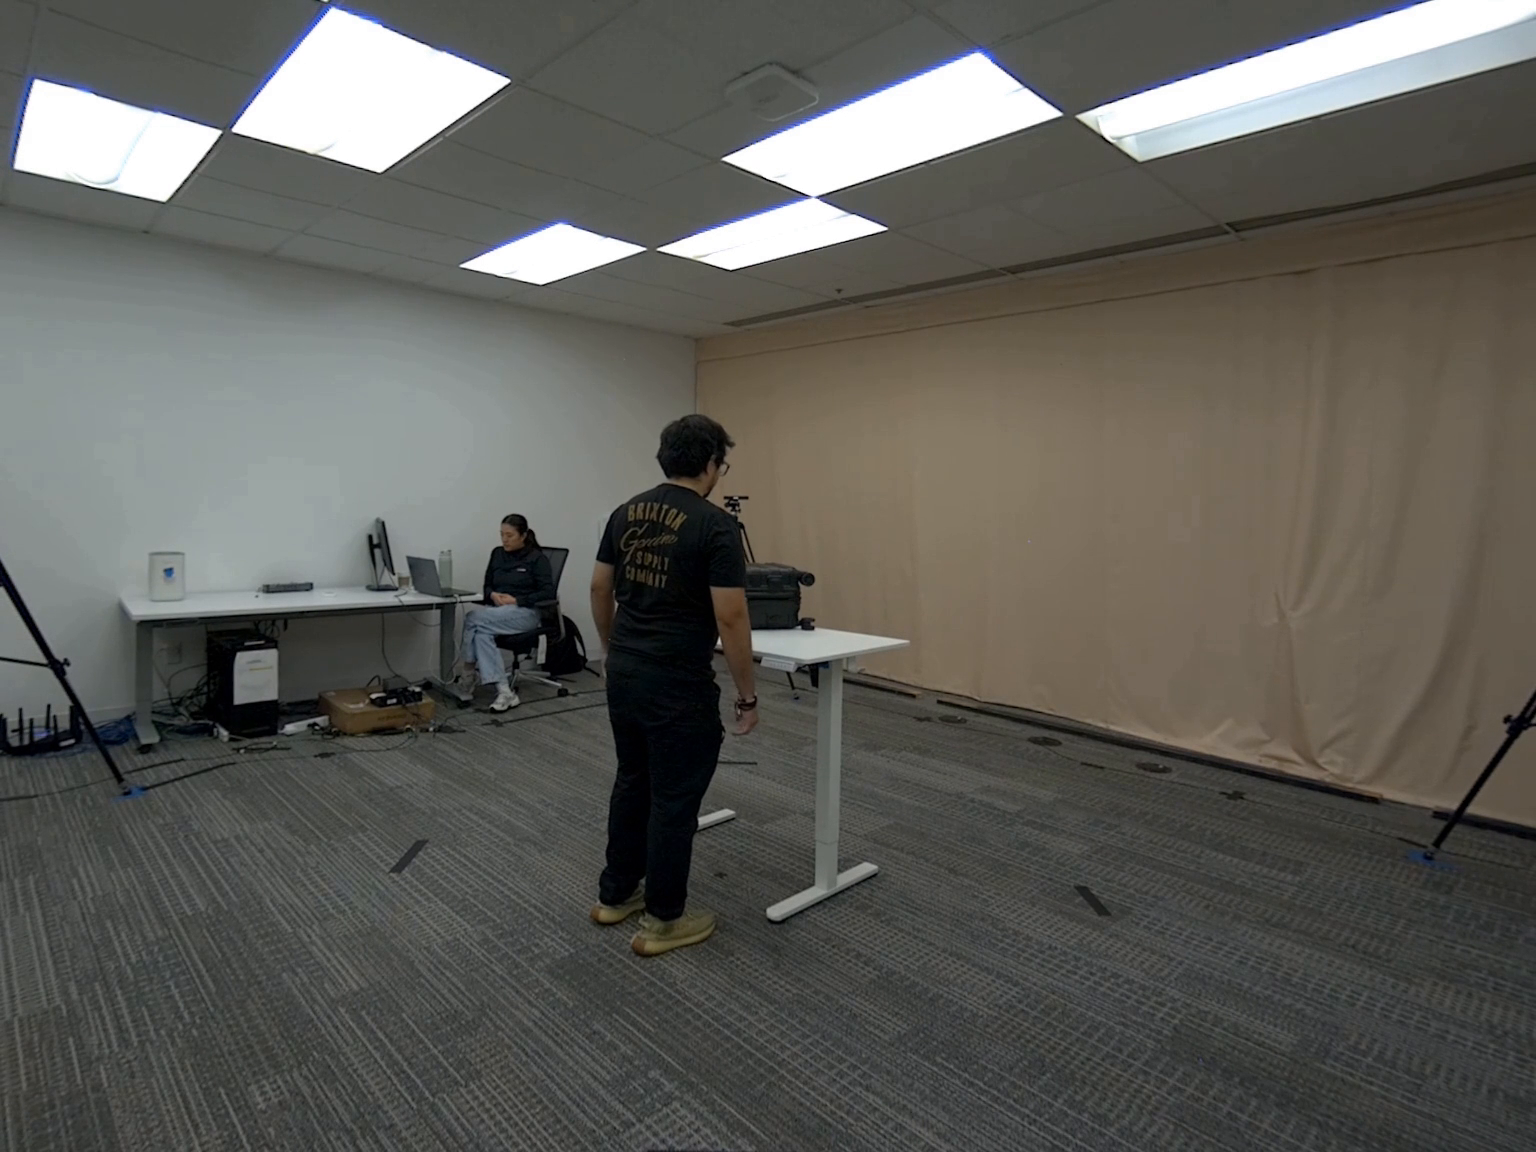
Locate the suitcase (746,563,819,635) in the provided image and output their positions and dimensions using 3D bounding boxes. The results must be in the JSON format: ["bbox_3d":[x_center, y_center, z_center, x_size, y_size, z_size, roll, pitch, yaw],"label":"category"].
[{"bbox_3d":[-0.129,0.083,3.381,0.542,0.248,0.381,0,4,-17],"label":"suitcase"}]
